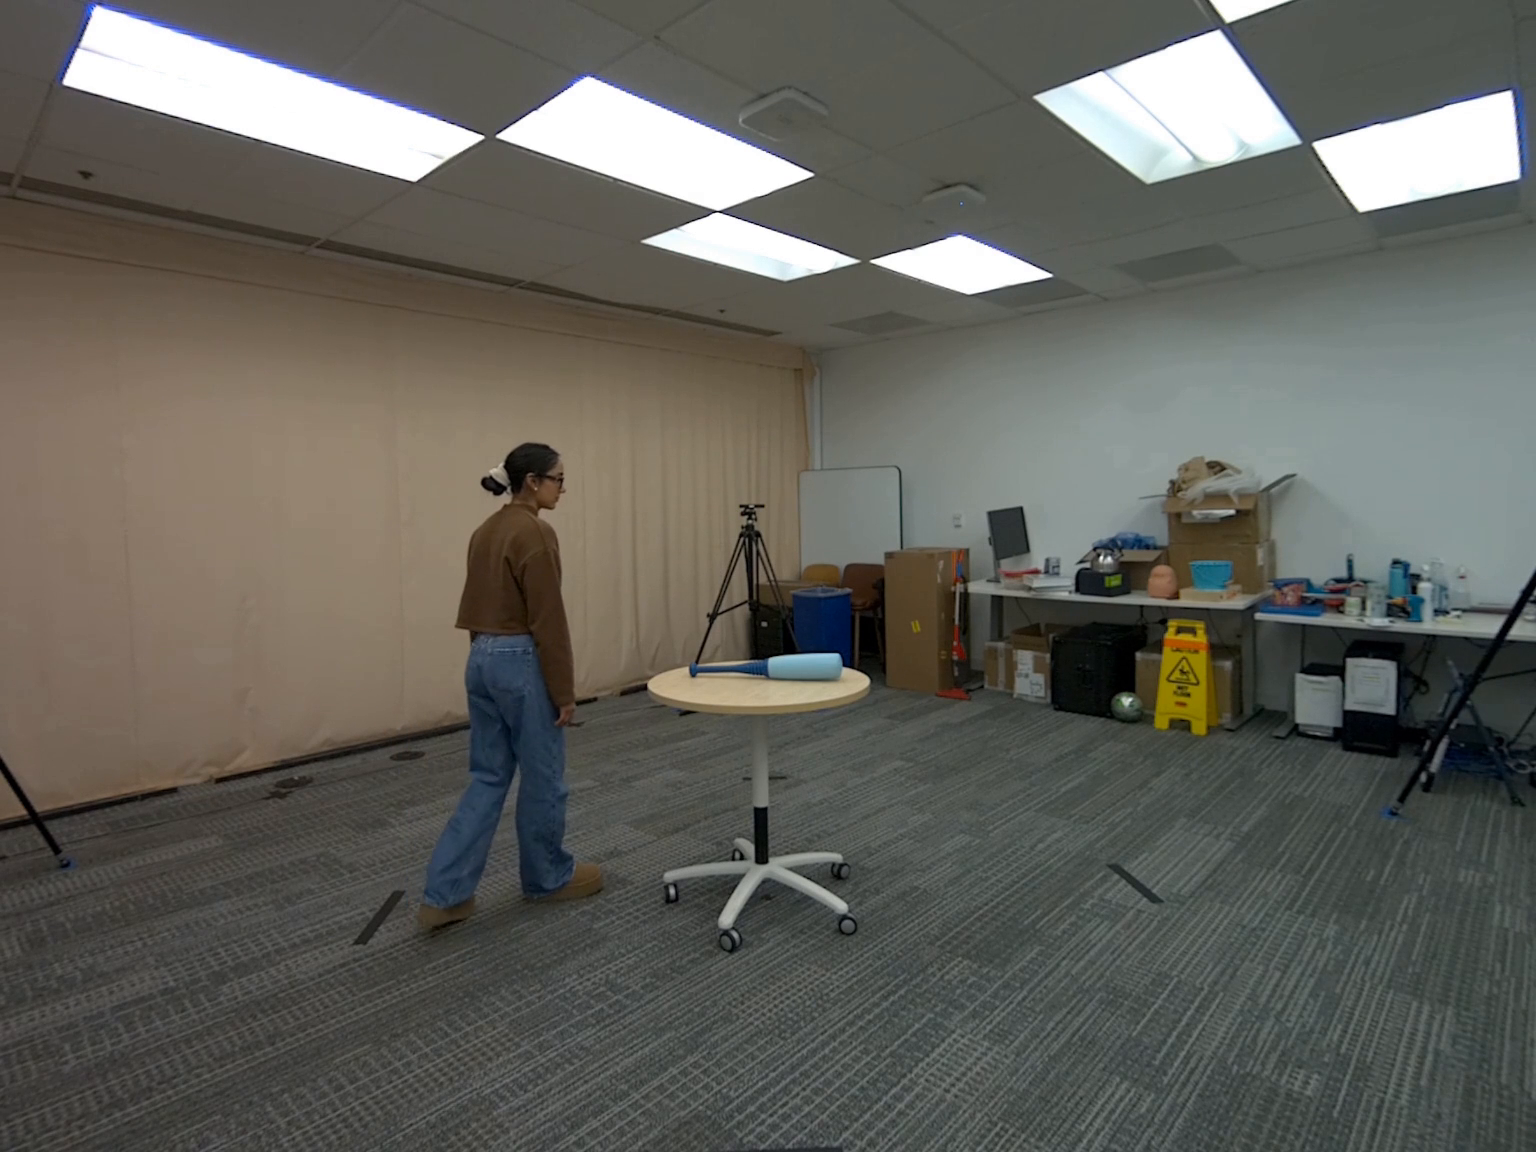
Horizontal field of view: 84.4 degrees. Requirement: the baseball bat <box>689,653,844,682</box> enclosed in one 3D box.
[{"bbox_3d":[-0.013,0.327,2.935,0.550,0.089,0.088,-4,3,13],"label":"baseball bat"}]
